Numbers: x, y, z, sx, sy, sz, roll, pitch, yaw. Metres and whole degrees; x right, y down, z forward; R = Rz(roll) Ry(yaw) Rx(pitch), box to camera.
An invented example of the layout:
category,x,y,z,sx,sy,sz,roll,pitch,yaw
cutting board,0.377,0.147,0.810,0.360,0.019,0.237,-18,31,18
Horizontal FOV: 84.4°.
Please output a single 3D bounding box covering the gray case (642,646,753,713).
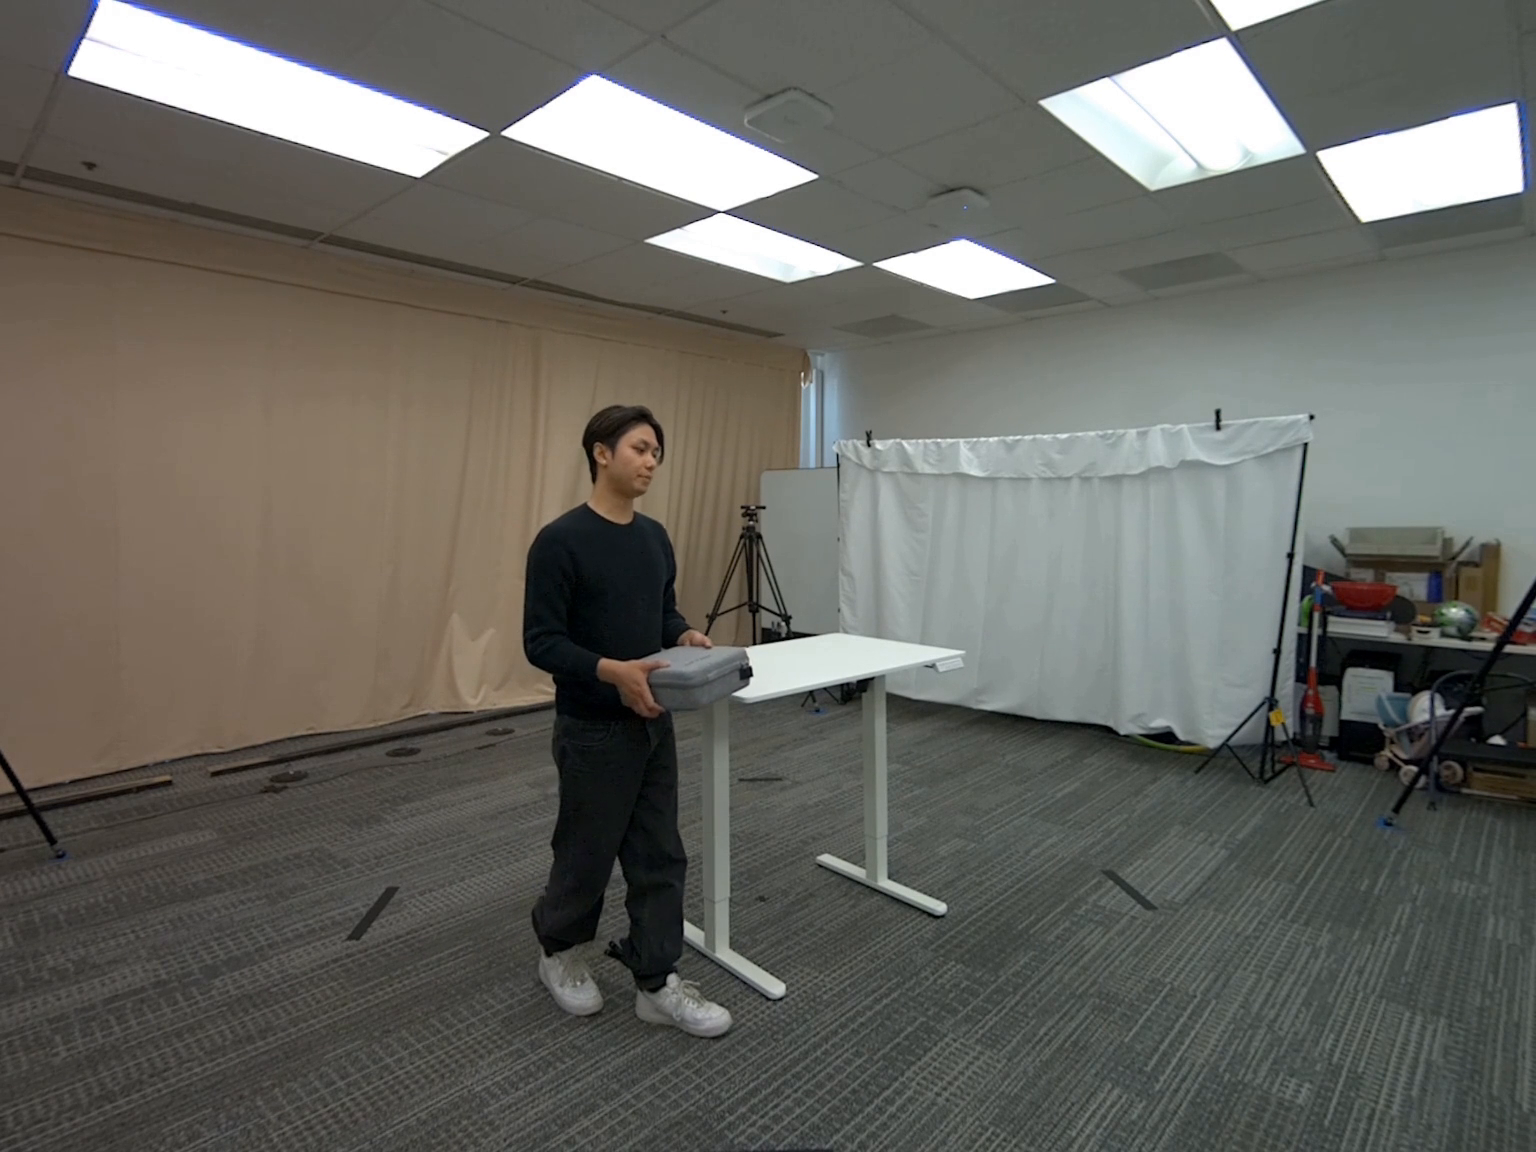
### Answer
category,x,y,z,sx,sy,sz,roll,pitch,yaw
gray case,-0.210,0.248,2.093,0.268,0.104,0.251,-3,9,34
